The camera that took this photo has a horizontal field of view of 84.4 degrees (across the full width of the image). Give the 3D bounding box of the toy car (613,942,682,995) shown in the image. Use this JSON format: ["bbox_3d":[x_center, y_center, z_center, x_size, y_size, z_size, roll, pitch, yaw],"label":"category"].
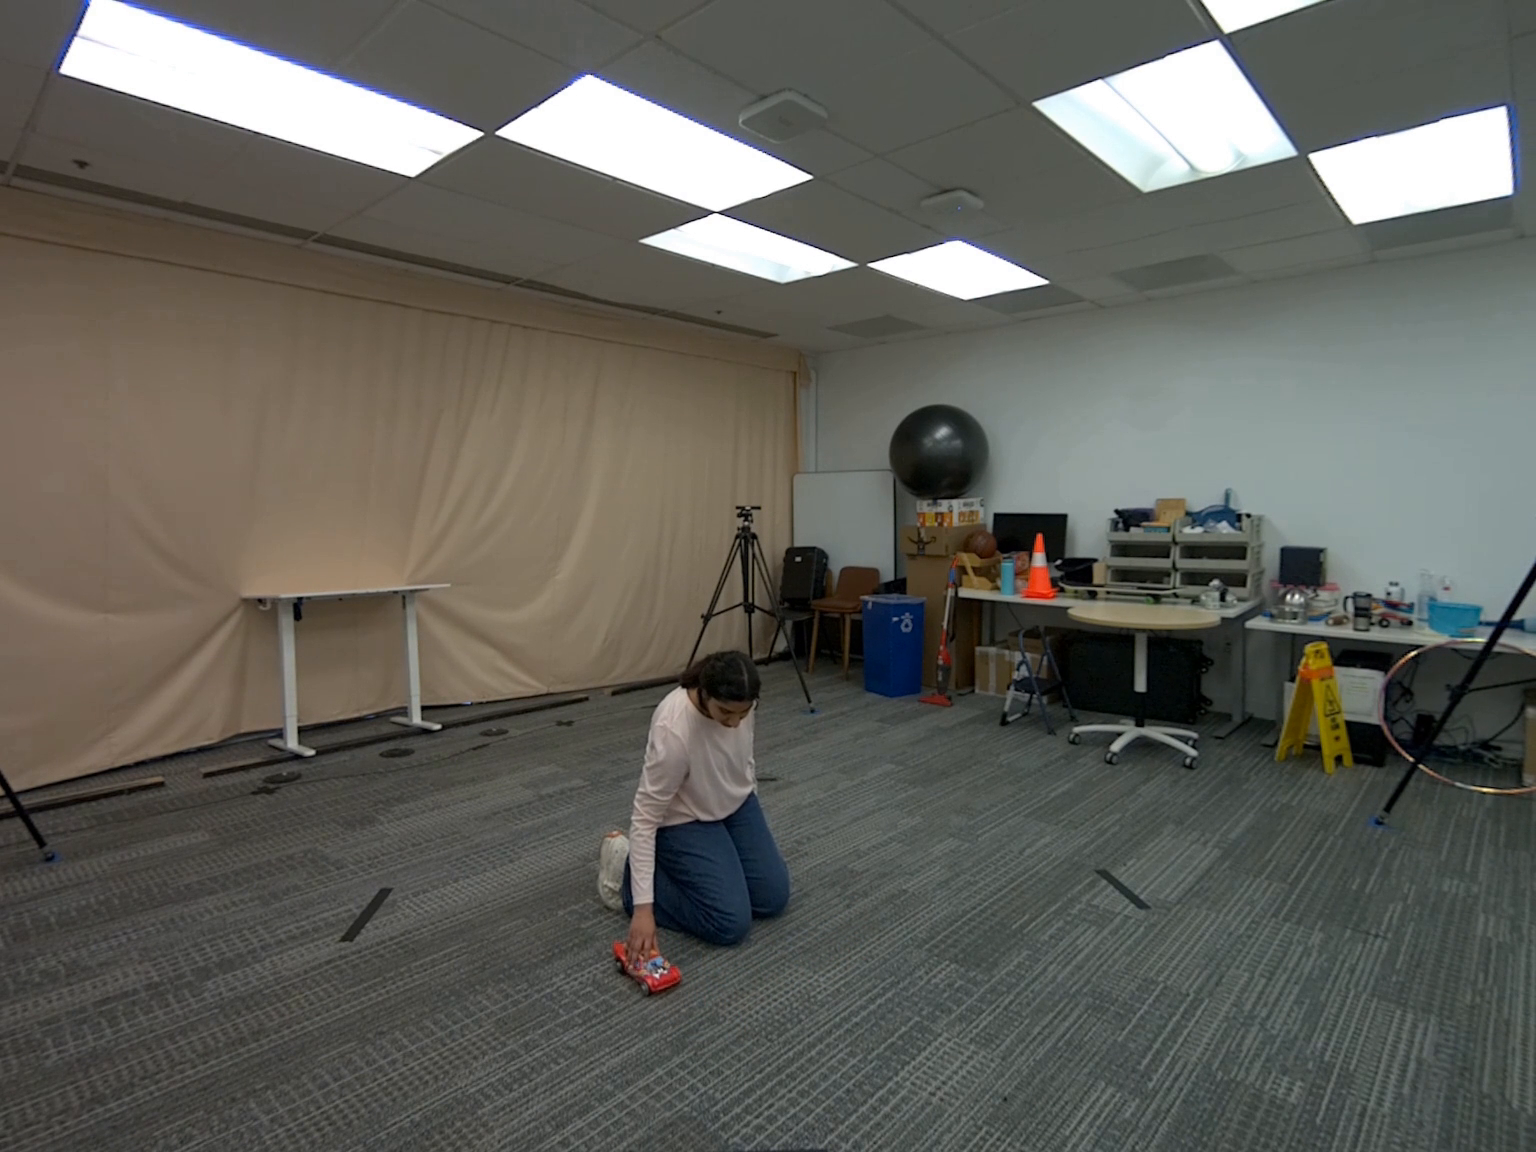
[{"bbox_3d":[-0.370,1.149,2.499,0.126,0.082,0.264,-5,17,-38],"label":"toy car"}]
